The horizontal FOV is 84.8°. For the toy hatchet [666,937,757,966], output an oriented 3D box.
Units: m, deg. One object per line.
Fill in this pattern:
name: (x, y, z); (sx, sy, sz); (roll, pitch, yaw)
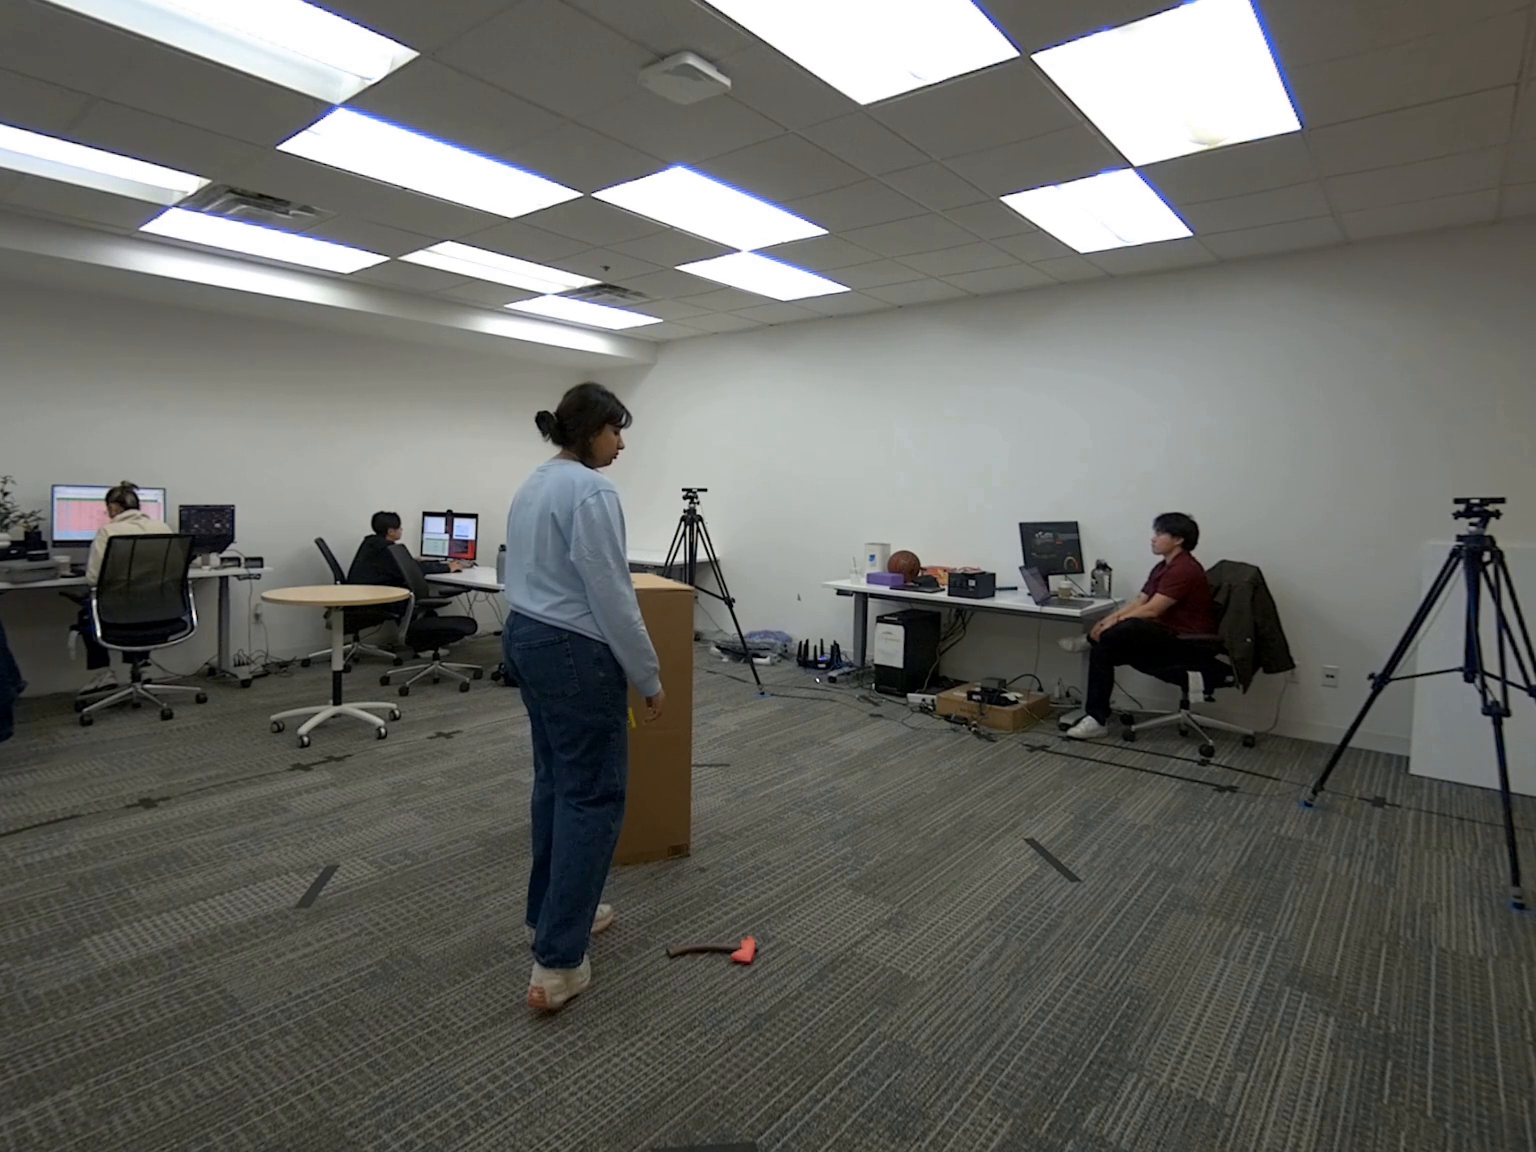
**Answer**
toy hatchet: (-0.163, 1.122, 2.509); (0.266, 0.029, 0.134); (-4, 9, -17)
